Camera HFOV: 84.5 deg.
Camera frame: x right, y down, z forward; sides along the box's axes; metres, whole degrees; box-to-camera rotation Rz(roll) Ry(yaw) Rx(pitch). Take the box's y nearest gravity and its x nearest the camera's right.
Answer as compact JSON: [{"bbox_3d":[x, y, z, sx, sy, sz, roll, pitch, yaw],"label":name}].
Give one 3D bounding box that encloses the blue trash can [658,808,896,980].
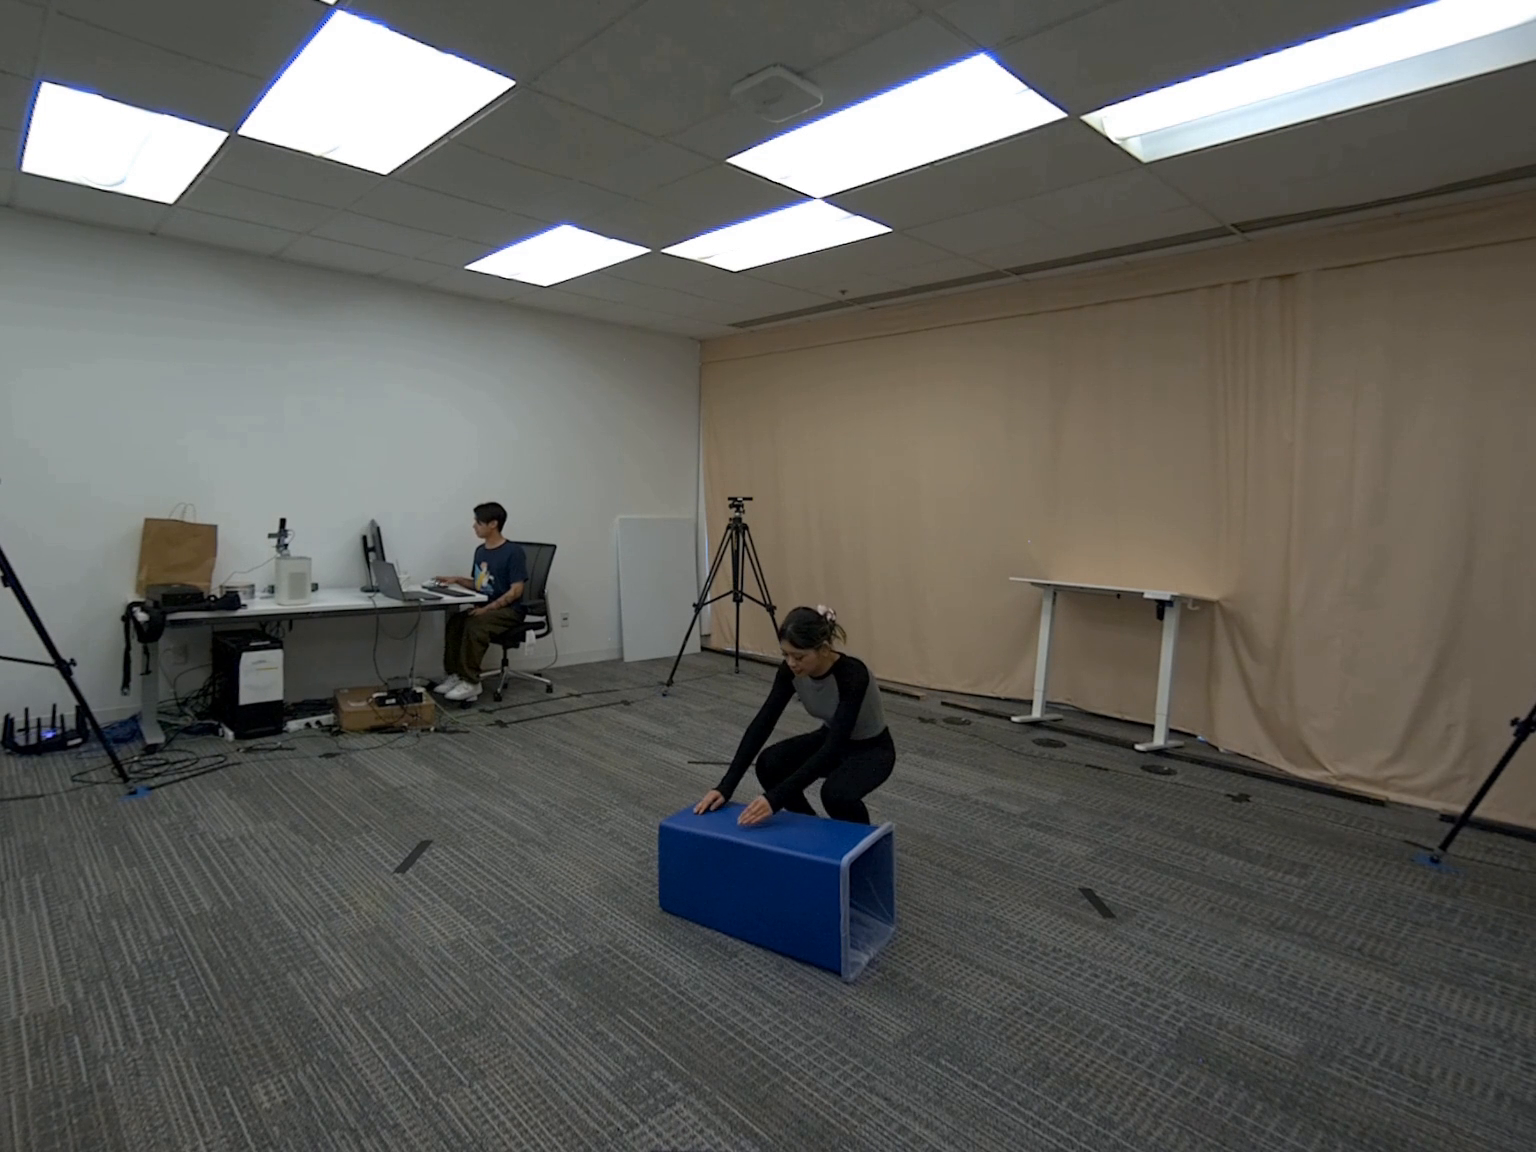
[{"bbox_3d":[0.012,0.972,2.759,0.729,0.377,0.367,2,4,33],"label":"blue trash can"}]
